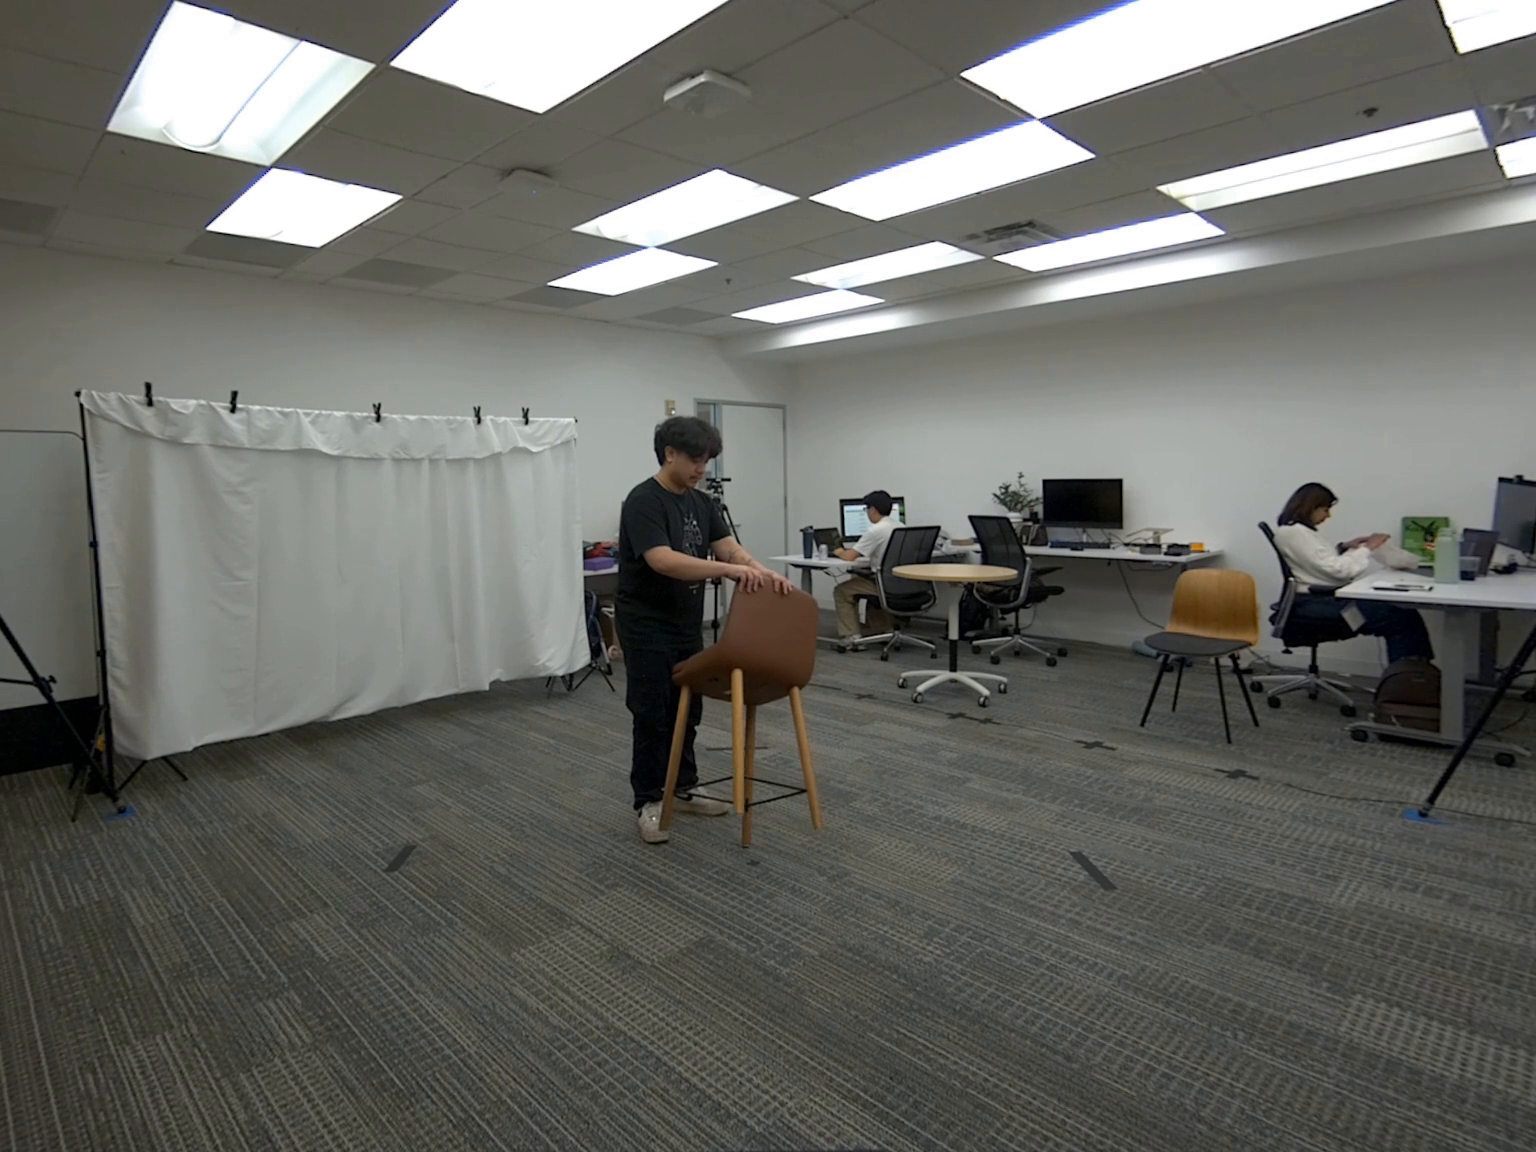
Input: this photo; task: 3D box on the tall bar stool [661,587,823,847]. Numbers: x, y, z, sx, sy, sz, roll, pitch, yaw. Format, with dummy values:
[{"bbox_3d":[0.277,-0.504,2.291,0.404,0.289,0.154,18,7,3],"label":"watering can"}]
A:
[{"bbox_3d":[-0.085,0.503,3.200,0.441,0.909,0.473,20,-32,-33],"label":"tall bar stool"}]
